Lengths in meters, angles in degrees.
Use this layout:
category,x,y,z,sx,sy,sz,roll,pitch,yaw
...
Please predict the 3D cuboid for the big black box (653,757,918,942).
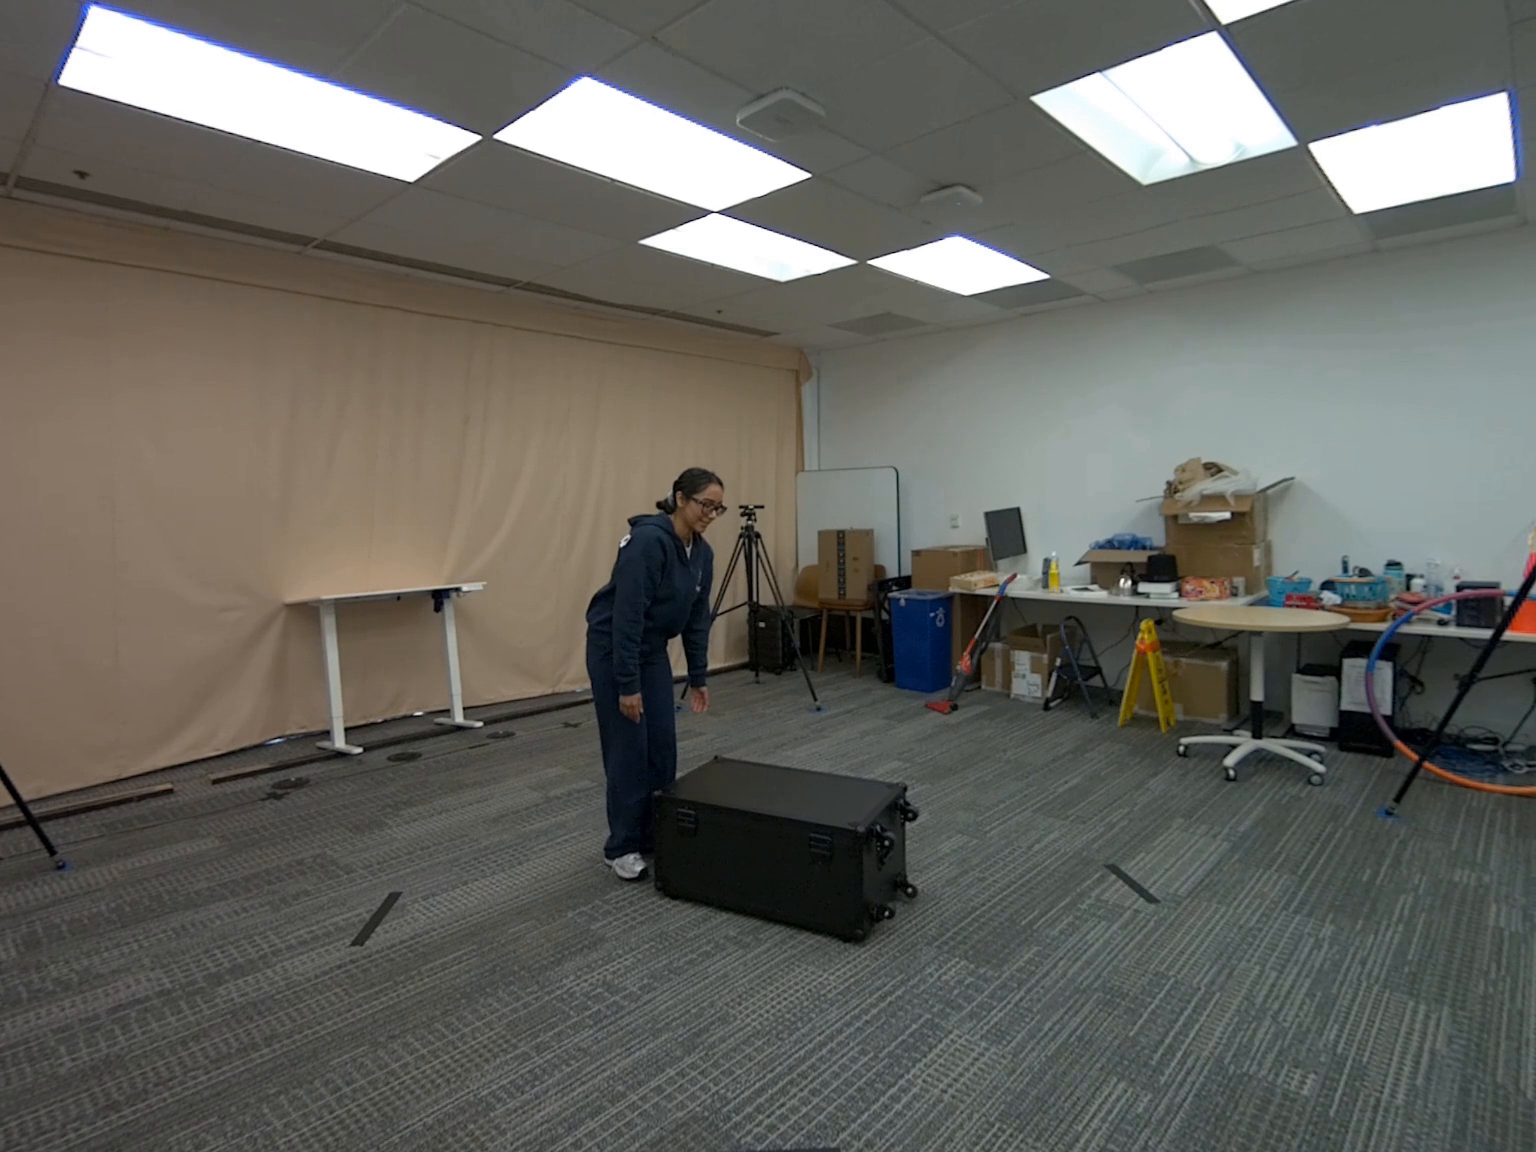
category,x,y,z,sx,sy,sz,roll,pitch,yaw
big black box,0.080,0.947,2.998,0.885,0.395,0.508,1,4,27
